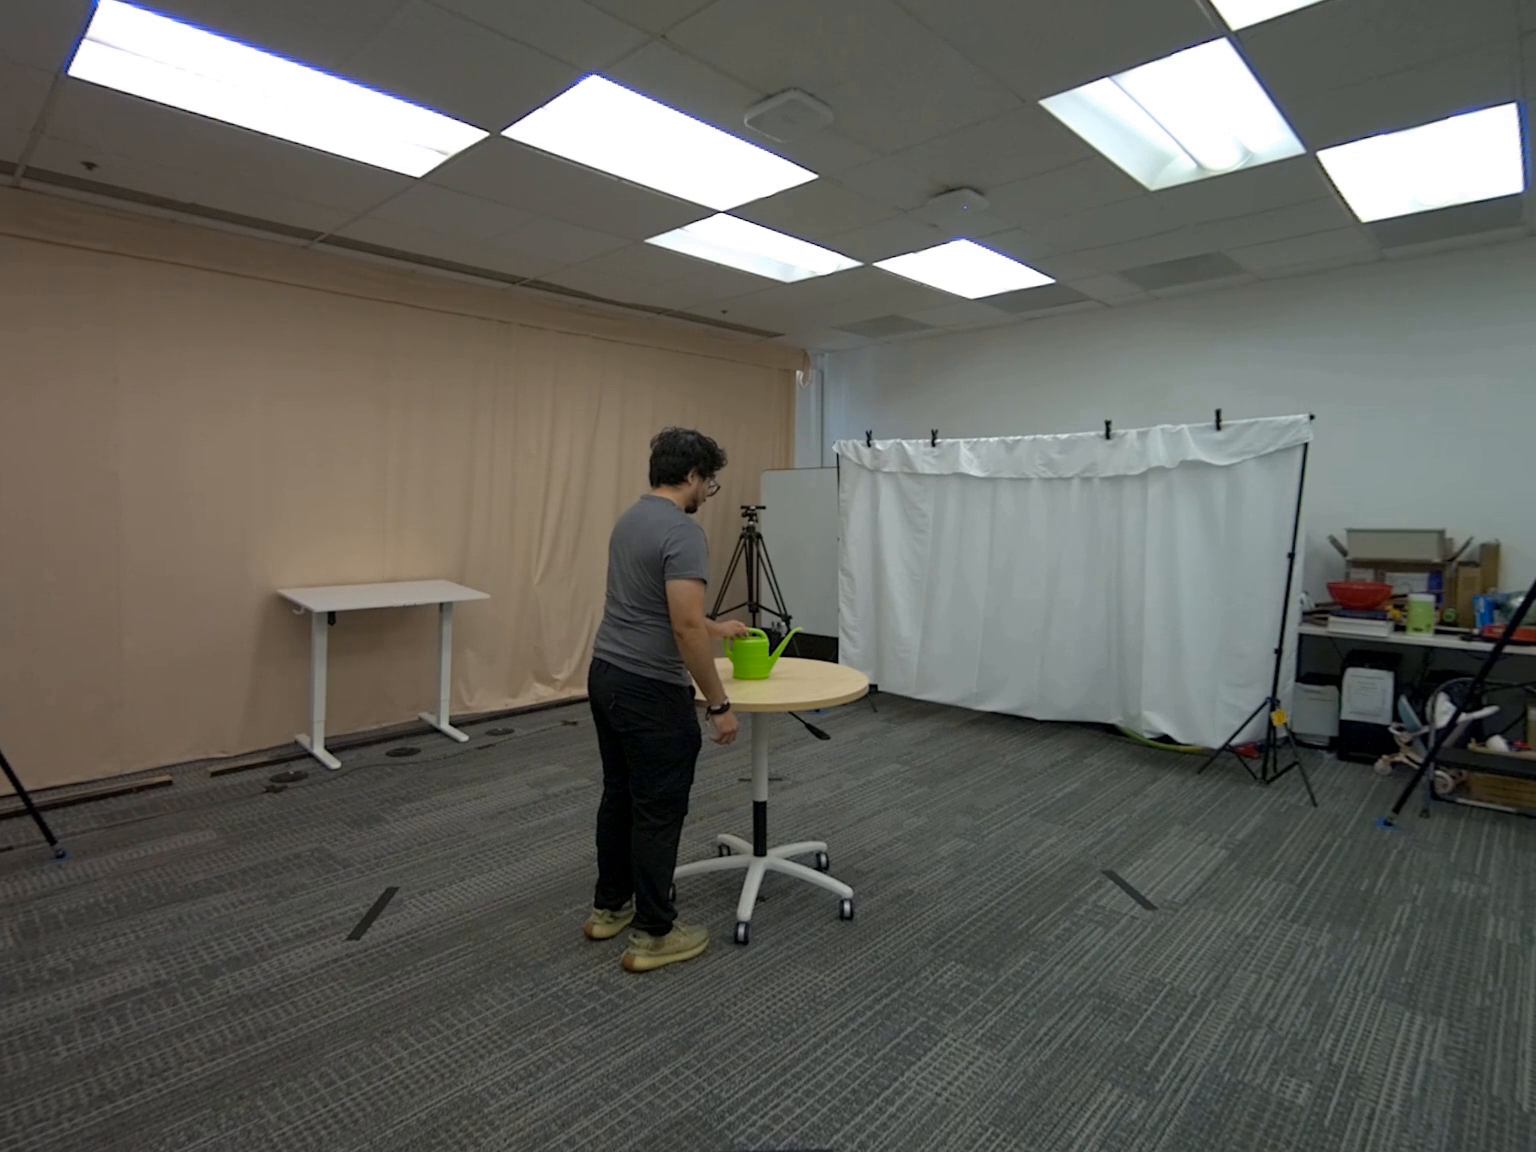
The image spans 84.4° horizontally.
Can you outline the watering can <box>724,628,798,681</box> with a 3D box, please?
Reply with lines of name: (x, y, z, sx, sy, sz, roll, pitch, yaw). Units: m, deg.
watering can: (-0.007, 0.277, 2.968, 0.284, 0.176, 0.096, 0, 3, 21)
